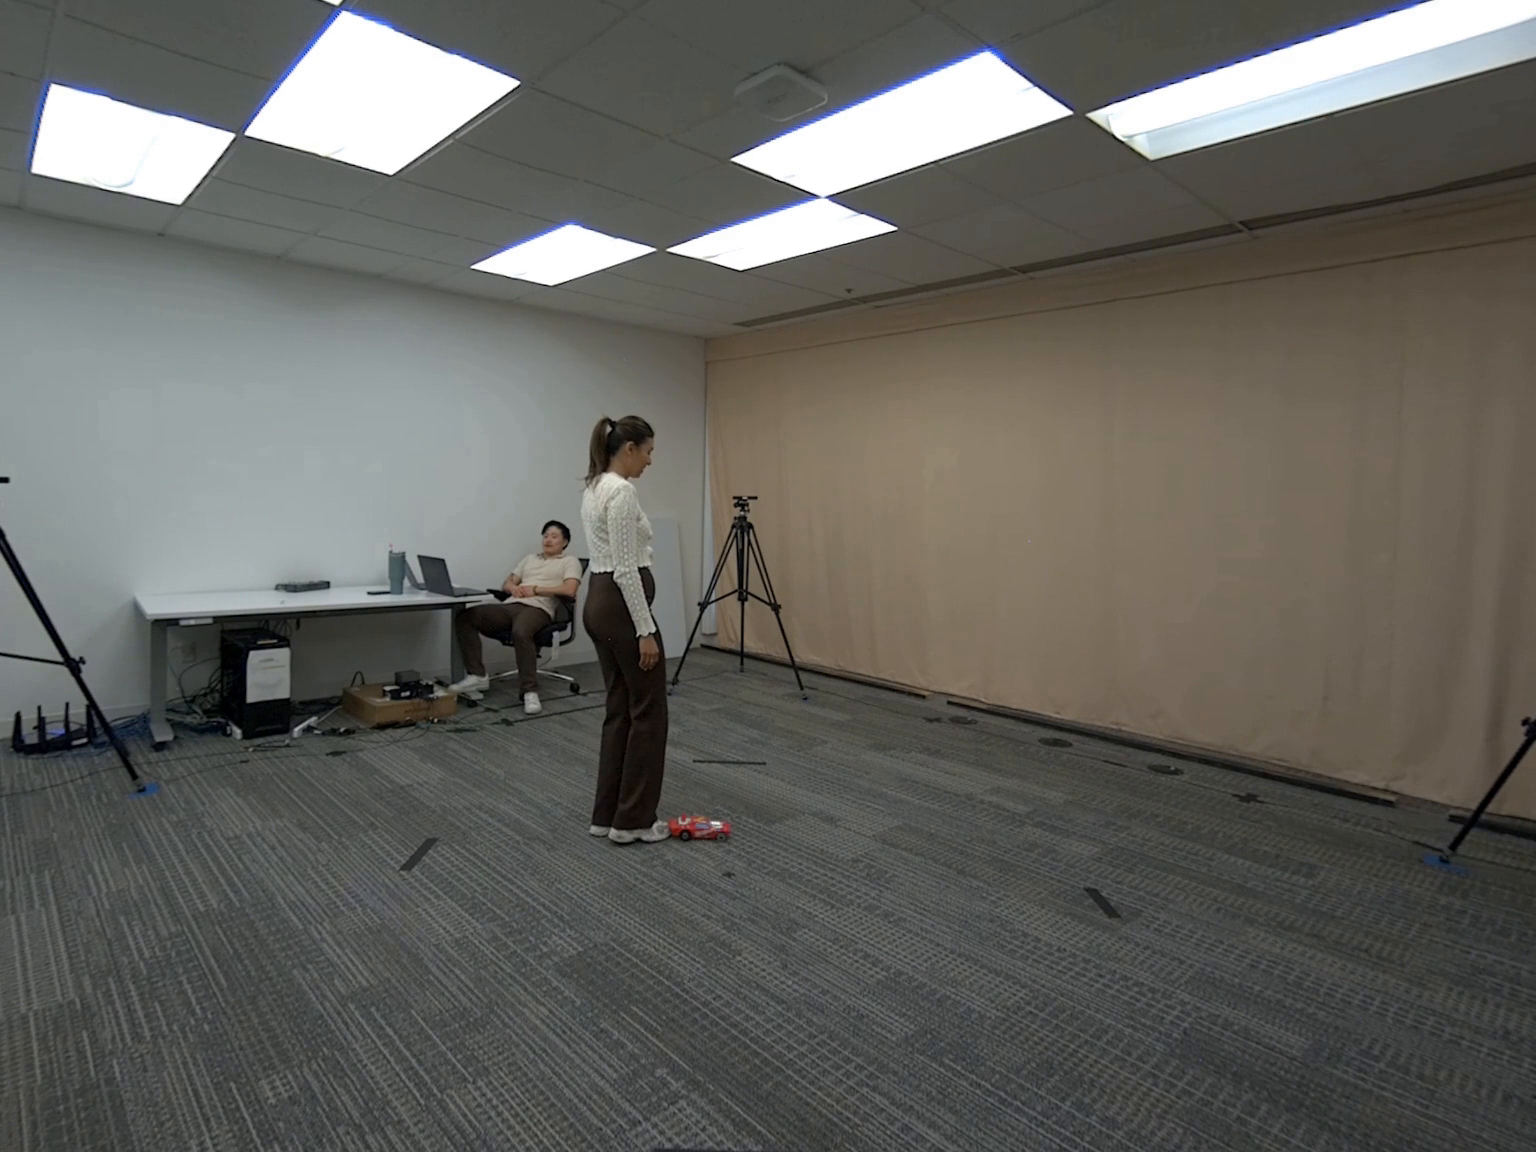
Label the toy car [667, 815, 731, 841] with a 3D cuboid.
[{"bbox_3d":[-0.297,1.037,3.448,0.254,0.083,0.131,13,3,-3],"label":"toy car"}]
